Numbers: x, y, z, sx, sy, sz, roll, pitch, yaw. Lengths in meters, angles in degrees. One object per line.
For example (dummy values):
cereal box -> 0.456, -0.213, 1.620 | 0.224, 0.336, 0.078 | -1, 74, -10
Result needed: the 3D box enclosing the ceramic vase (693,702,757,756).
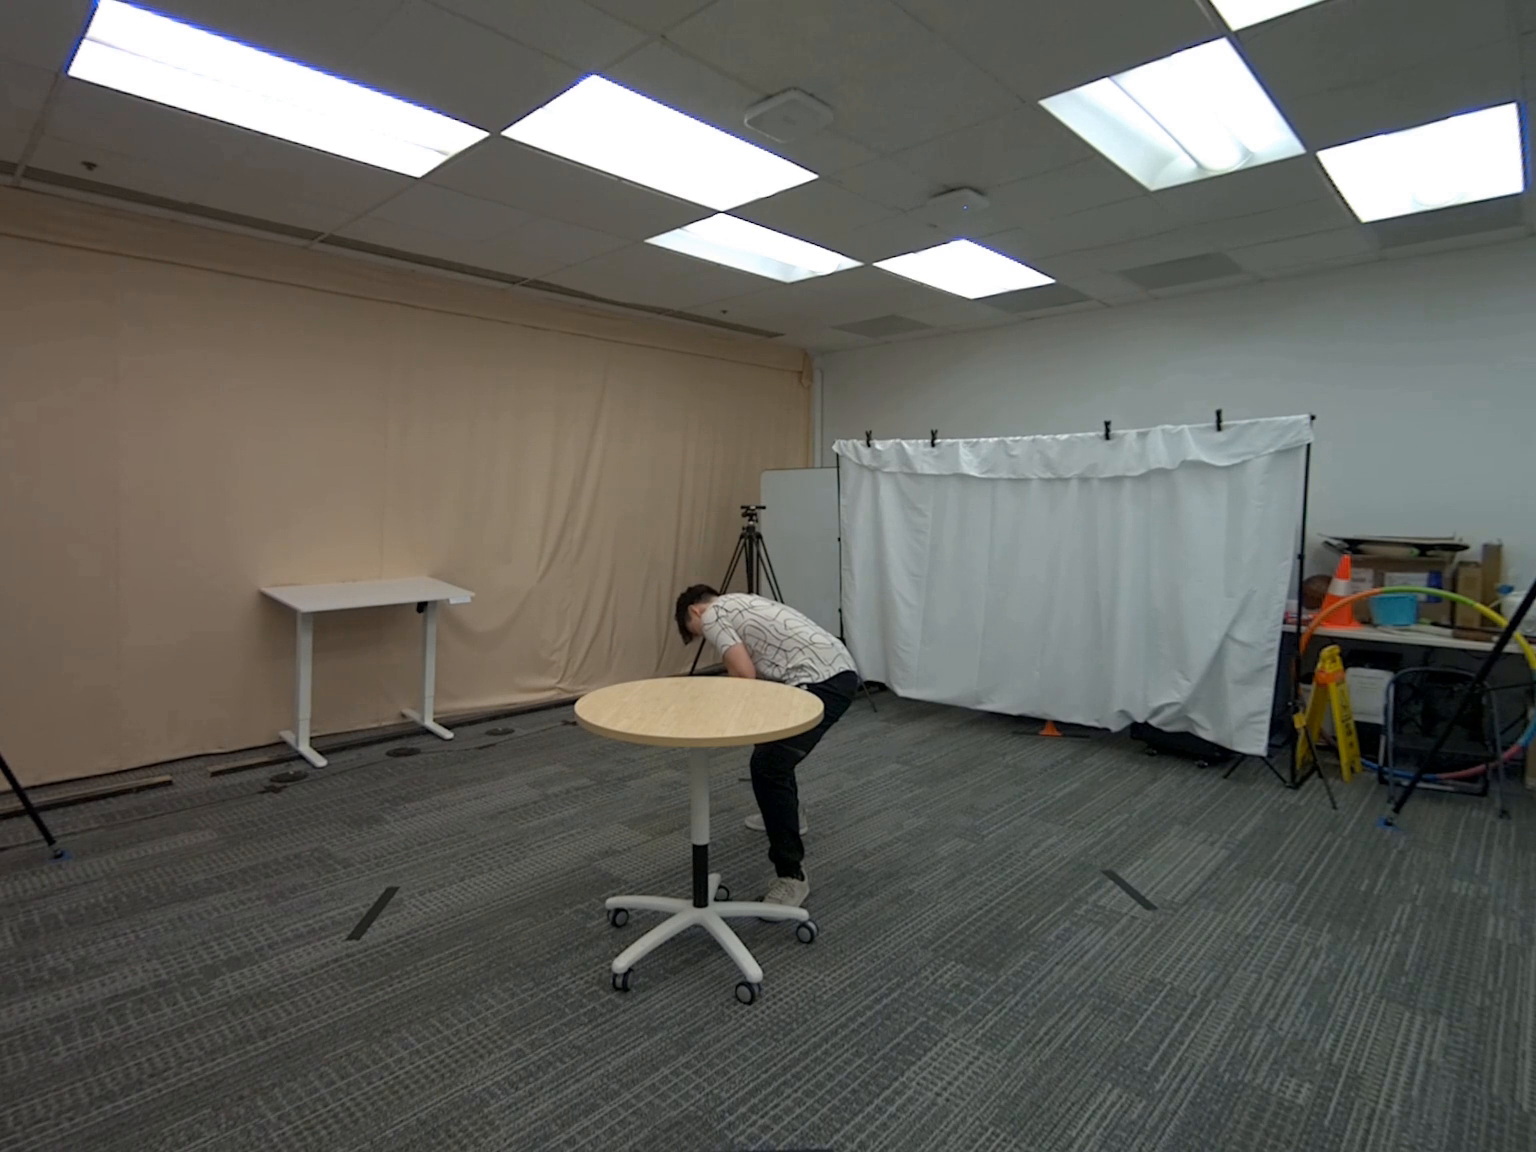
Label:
ceramic vase -> -0.177, 0.615, 3.441 | 0.227, 0.159, 0.130 | 2, 2, 37
